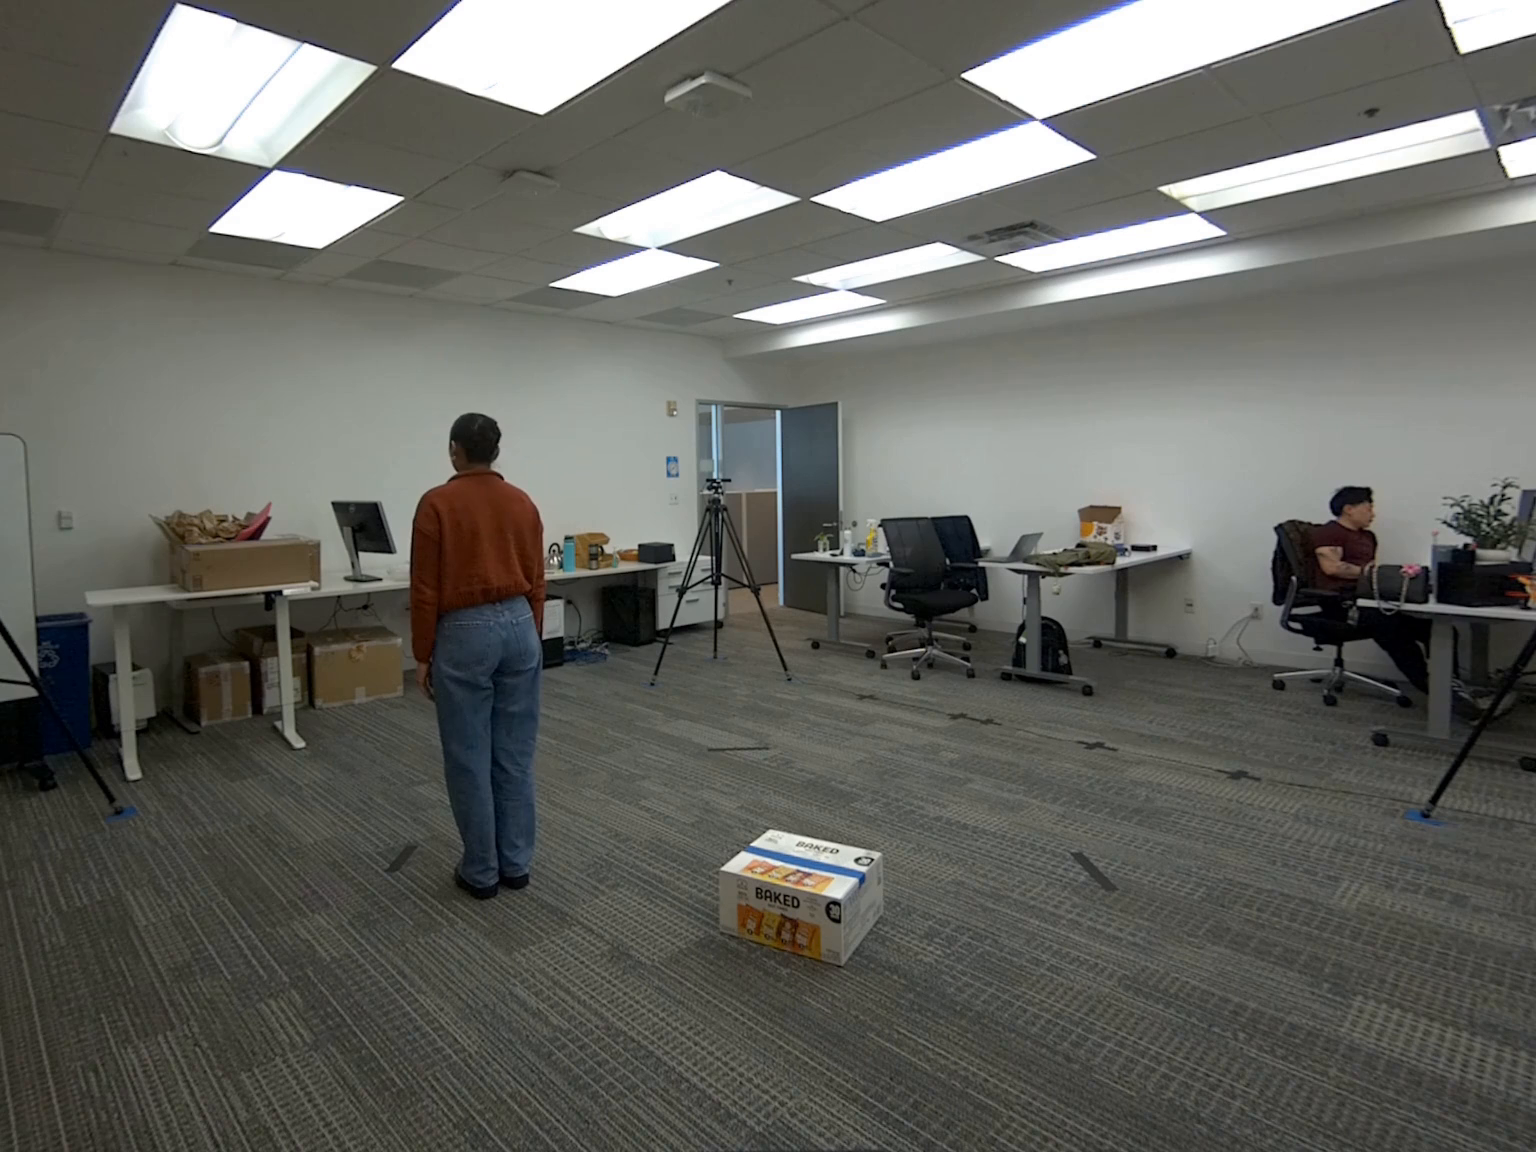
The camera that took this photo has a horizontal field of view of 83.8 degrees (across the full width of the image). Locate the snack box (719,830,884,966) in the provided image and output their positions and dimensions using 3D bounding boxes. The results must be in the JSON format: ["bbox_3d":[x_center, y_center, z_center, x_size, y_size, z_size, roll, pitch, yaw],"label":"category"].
[{"bbox_3d":[0.109,0.986,2.667,0.415,0.205,0.333,2,7,29],"label":"snack box"}]
